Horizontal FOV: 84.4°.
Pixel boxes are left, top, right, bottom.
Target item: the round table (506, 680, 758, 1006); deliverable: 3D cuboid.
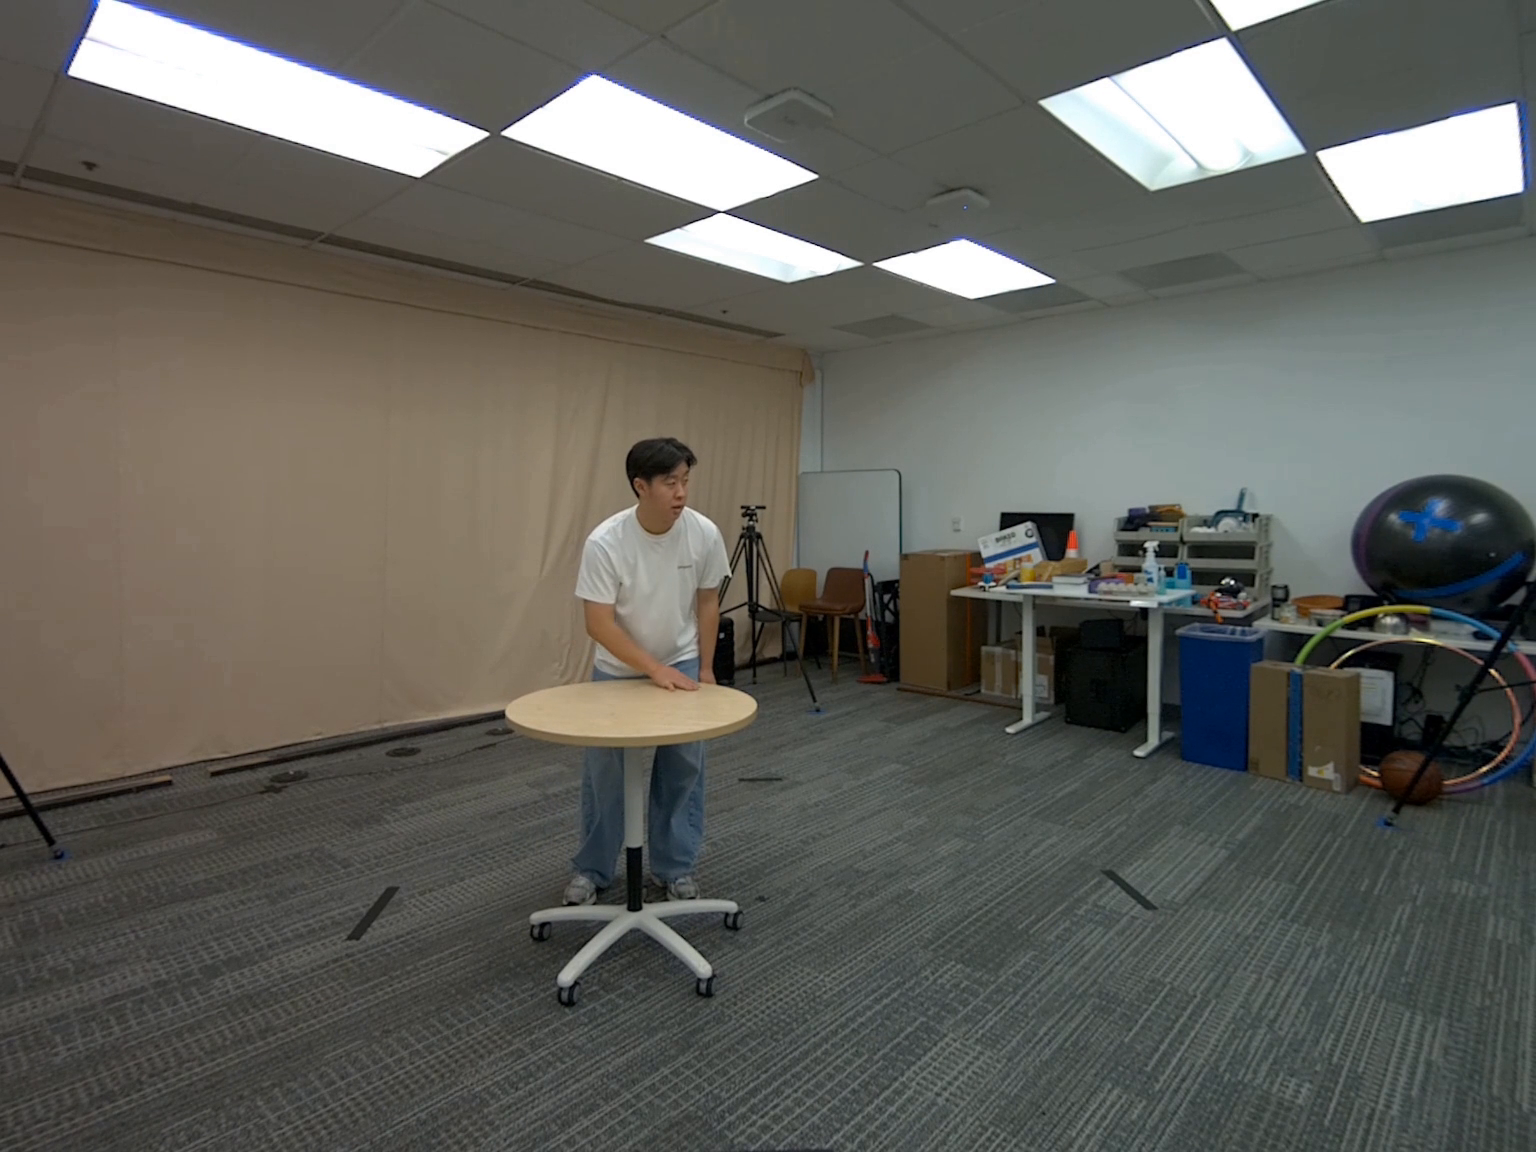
[{"bbox_3d":[-0.404,0.786,2.609,0.763,0.792,0.766,0,4,-2],"label":"round table"}]
